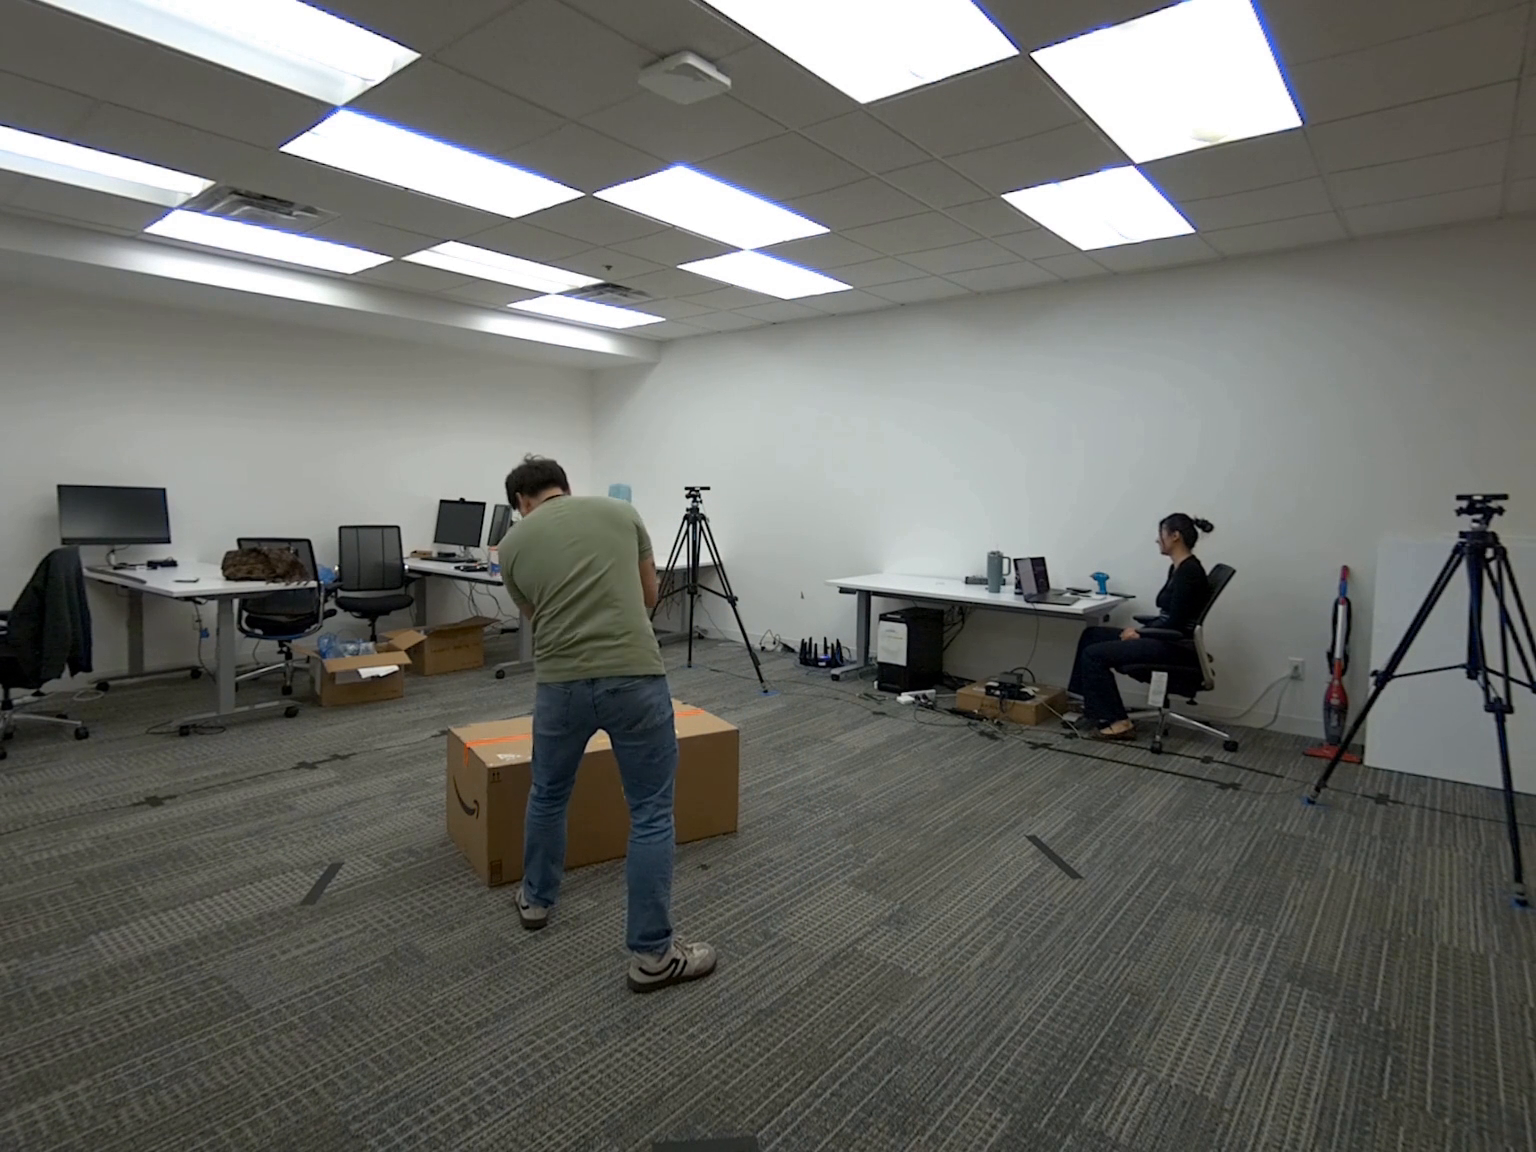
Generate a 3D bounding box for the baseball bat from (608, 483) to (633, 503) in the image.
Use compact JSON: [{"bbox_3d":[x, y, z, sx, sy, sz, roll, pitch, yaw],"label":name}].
[{"bbox_3d":[-0.559,-0.062,3.025,0.089,0.554,0.087,0,-23,-2],"label":"baseball bat"}]
